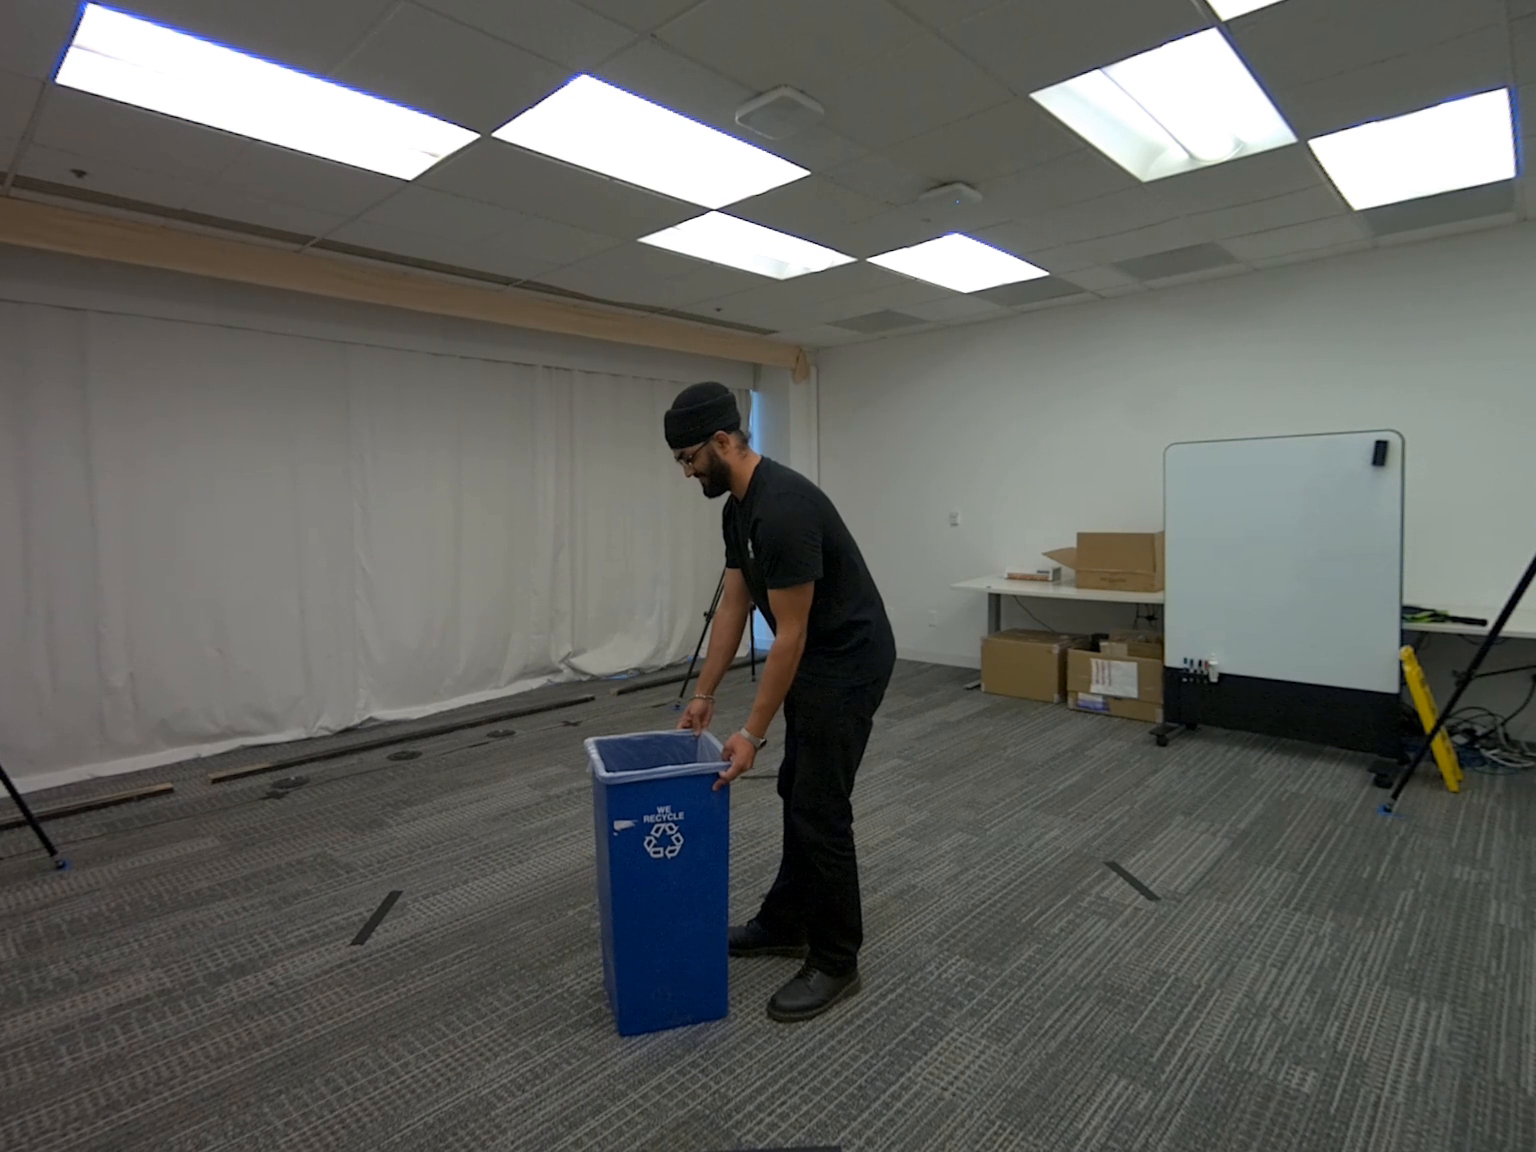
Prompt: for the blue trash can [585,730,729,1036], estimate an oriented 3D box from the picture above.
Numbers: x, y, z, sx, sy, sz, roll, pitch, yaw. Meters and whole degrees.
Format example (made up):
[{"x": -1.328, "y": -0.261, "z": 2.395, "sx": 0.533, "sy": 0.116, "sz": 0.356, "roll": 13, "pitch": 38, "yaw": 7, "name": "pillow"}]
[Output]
[{"x": -0.297, "y": 0.842, "z": 2.369, "sx": 0.367, "sy": 0.712, "sz": 0.386, "roll": -3, "pitch": 3, "yaw": -18, "name": "blue trash can"}]
